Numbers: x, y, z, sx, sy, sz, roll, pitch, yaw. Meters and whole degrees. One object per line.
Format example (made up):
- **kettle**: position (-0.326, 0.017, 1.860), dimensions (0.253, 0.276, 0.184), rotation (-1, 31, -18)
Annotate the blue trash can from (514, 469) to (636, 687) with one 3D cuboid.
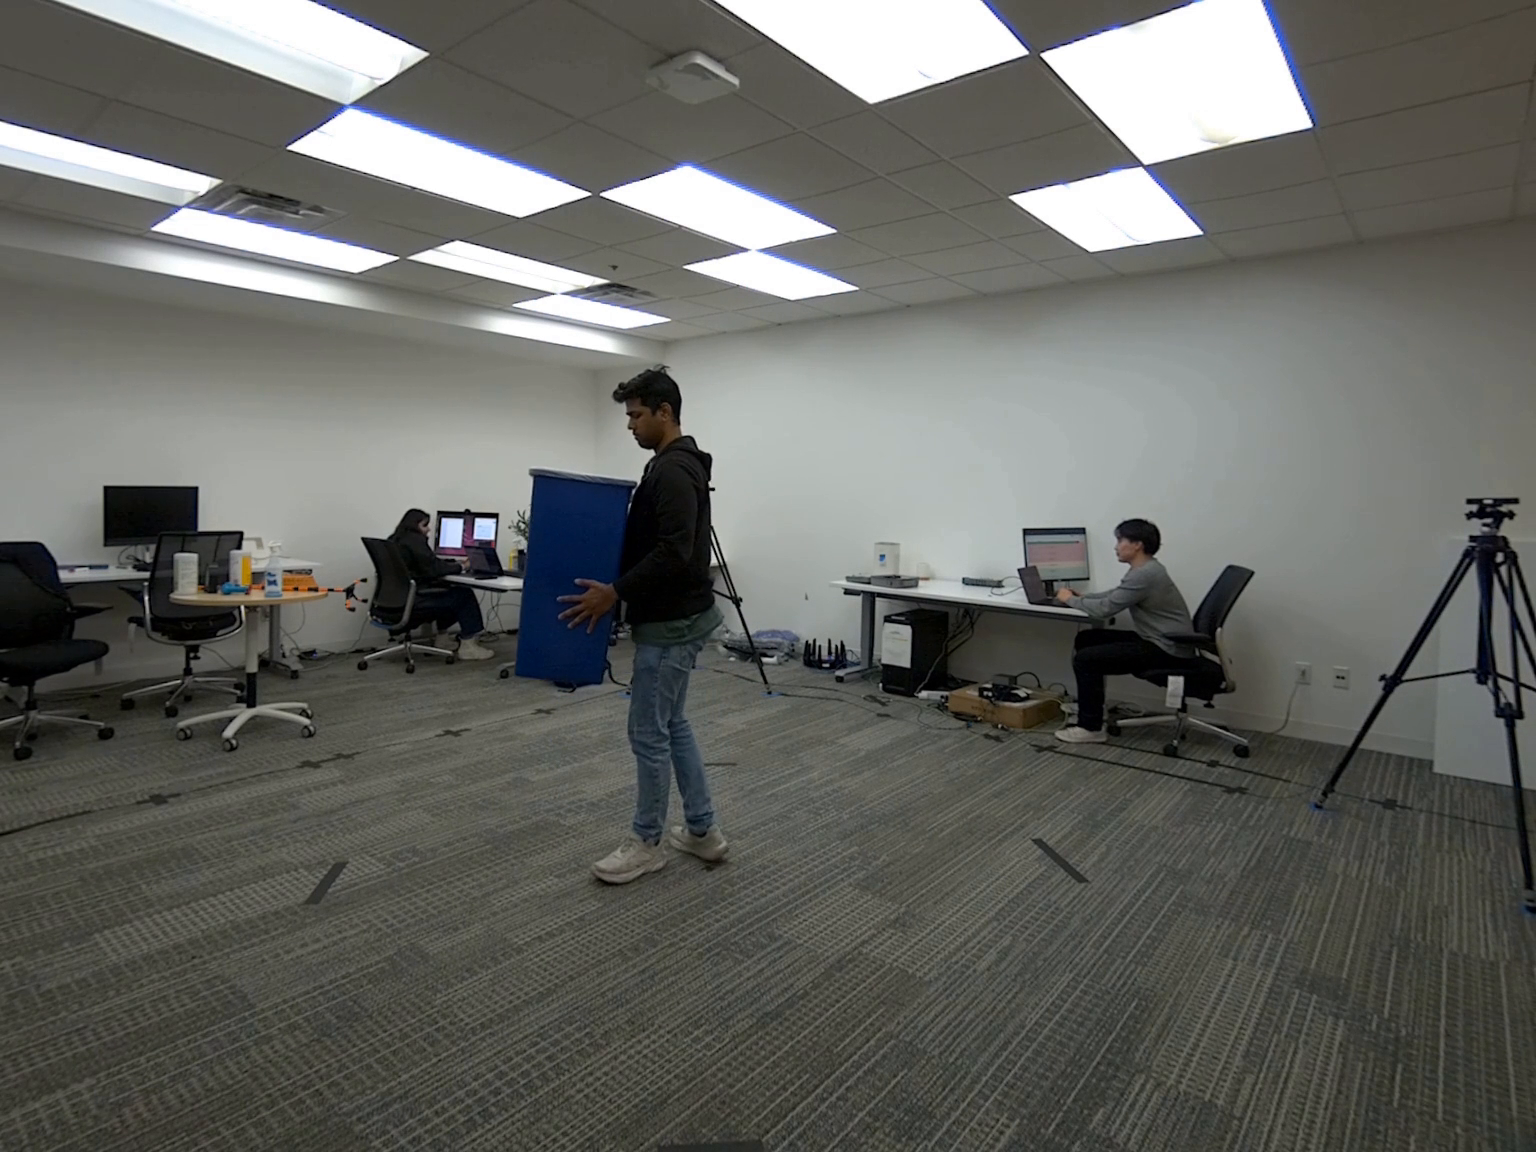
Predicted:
- **blue trash can**: position (-0.721, -0.012, 3.055), dimensions (0.369, 0.714, 0.383), rotation (9, -1, -12)
